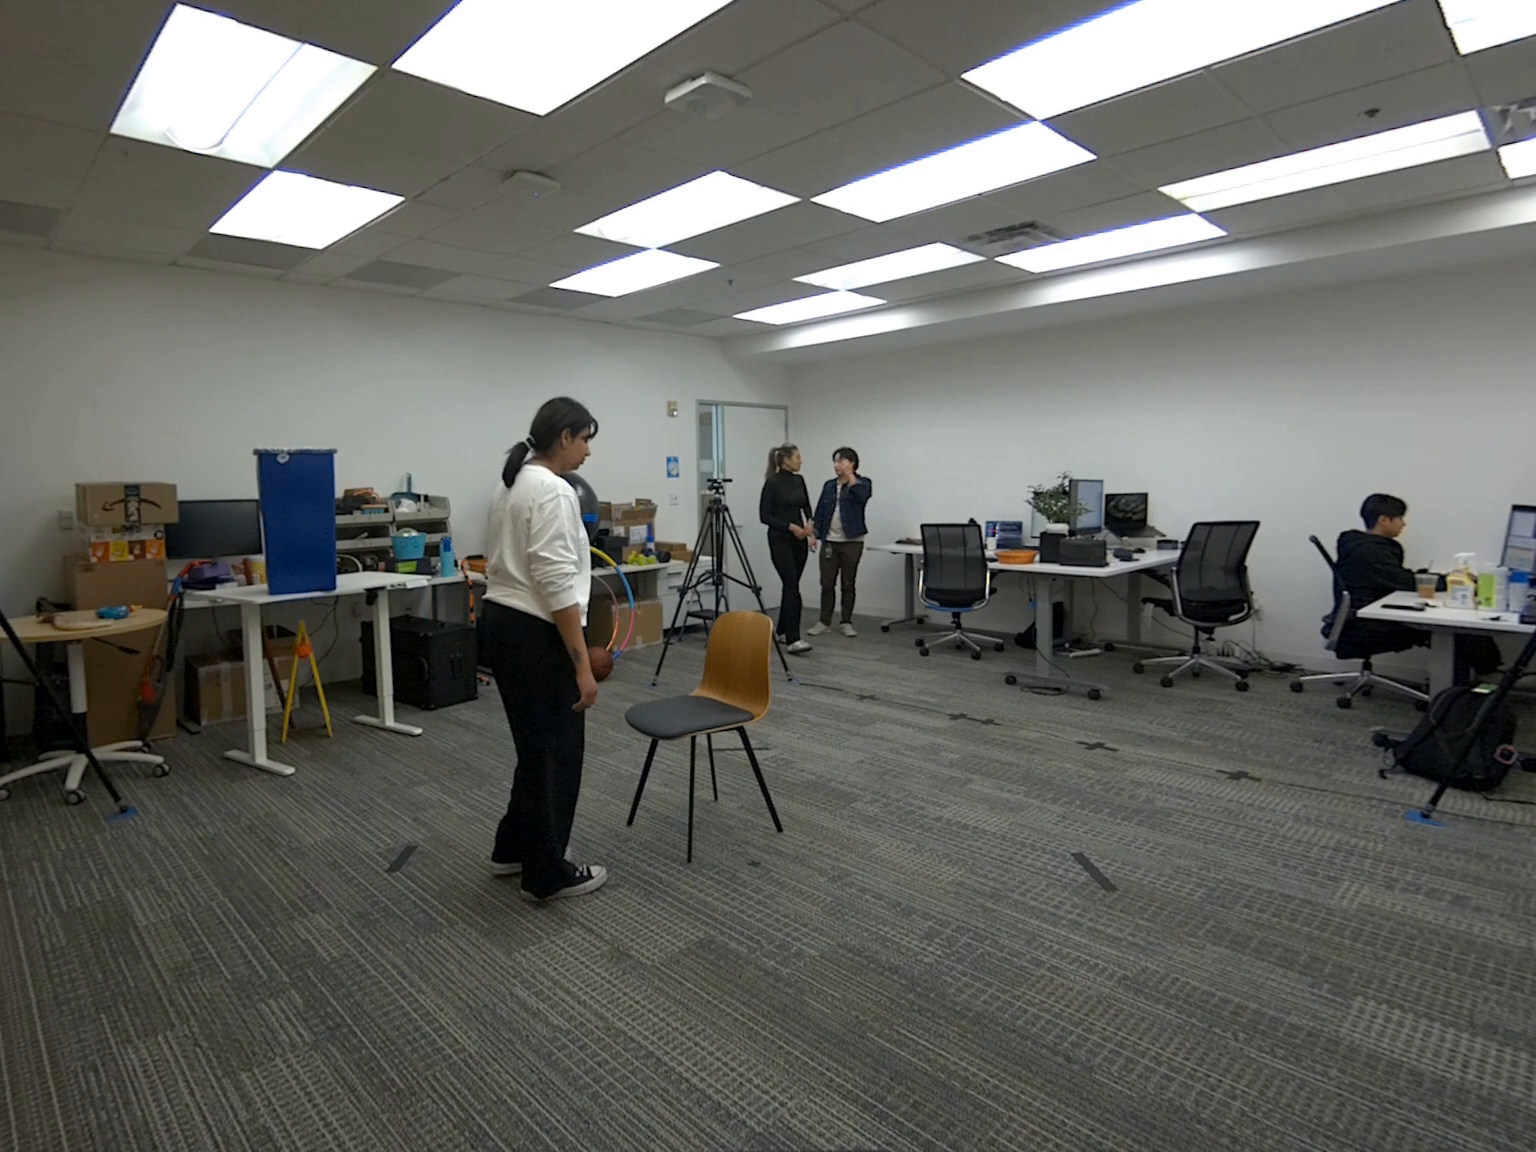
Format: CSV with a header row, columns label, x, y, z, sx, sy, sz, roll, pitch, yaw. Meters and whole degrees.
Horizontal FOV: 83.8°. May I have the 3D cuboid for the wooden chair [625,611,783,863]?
label,x,y,z,sx,sy,sz,roll,pitch,yaw
wooden chair,-0.266,0.588,3.393,0.508,0.876,0.492,1,2,-38
